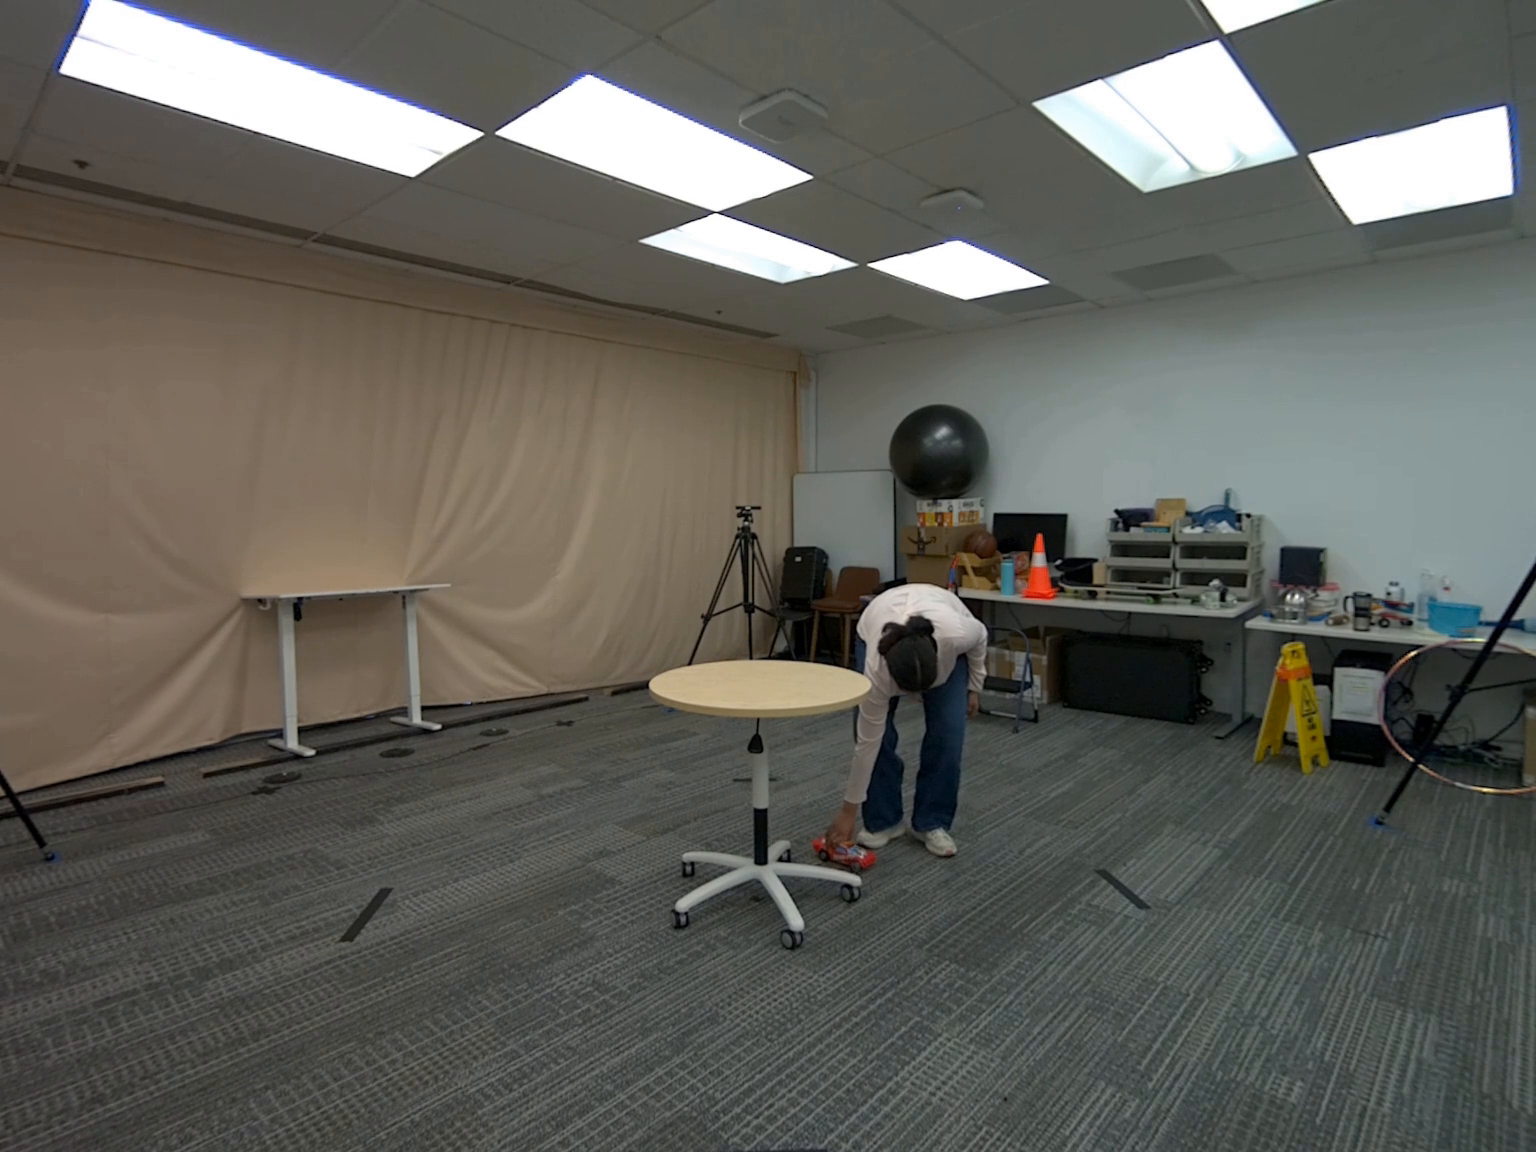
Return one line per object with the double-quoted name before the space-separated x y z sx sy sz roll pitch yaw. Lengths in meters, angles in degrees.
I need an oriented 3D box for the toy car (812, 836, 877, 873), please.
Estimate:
"toy car" 0.304 1.086 3.298 0.264 0.083 0.126 17 14 38
